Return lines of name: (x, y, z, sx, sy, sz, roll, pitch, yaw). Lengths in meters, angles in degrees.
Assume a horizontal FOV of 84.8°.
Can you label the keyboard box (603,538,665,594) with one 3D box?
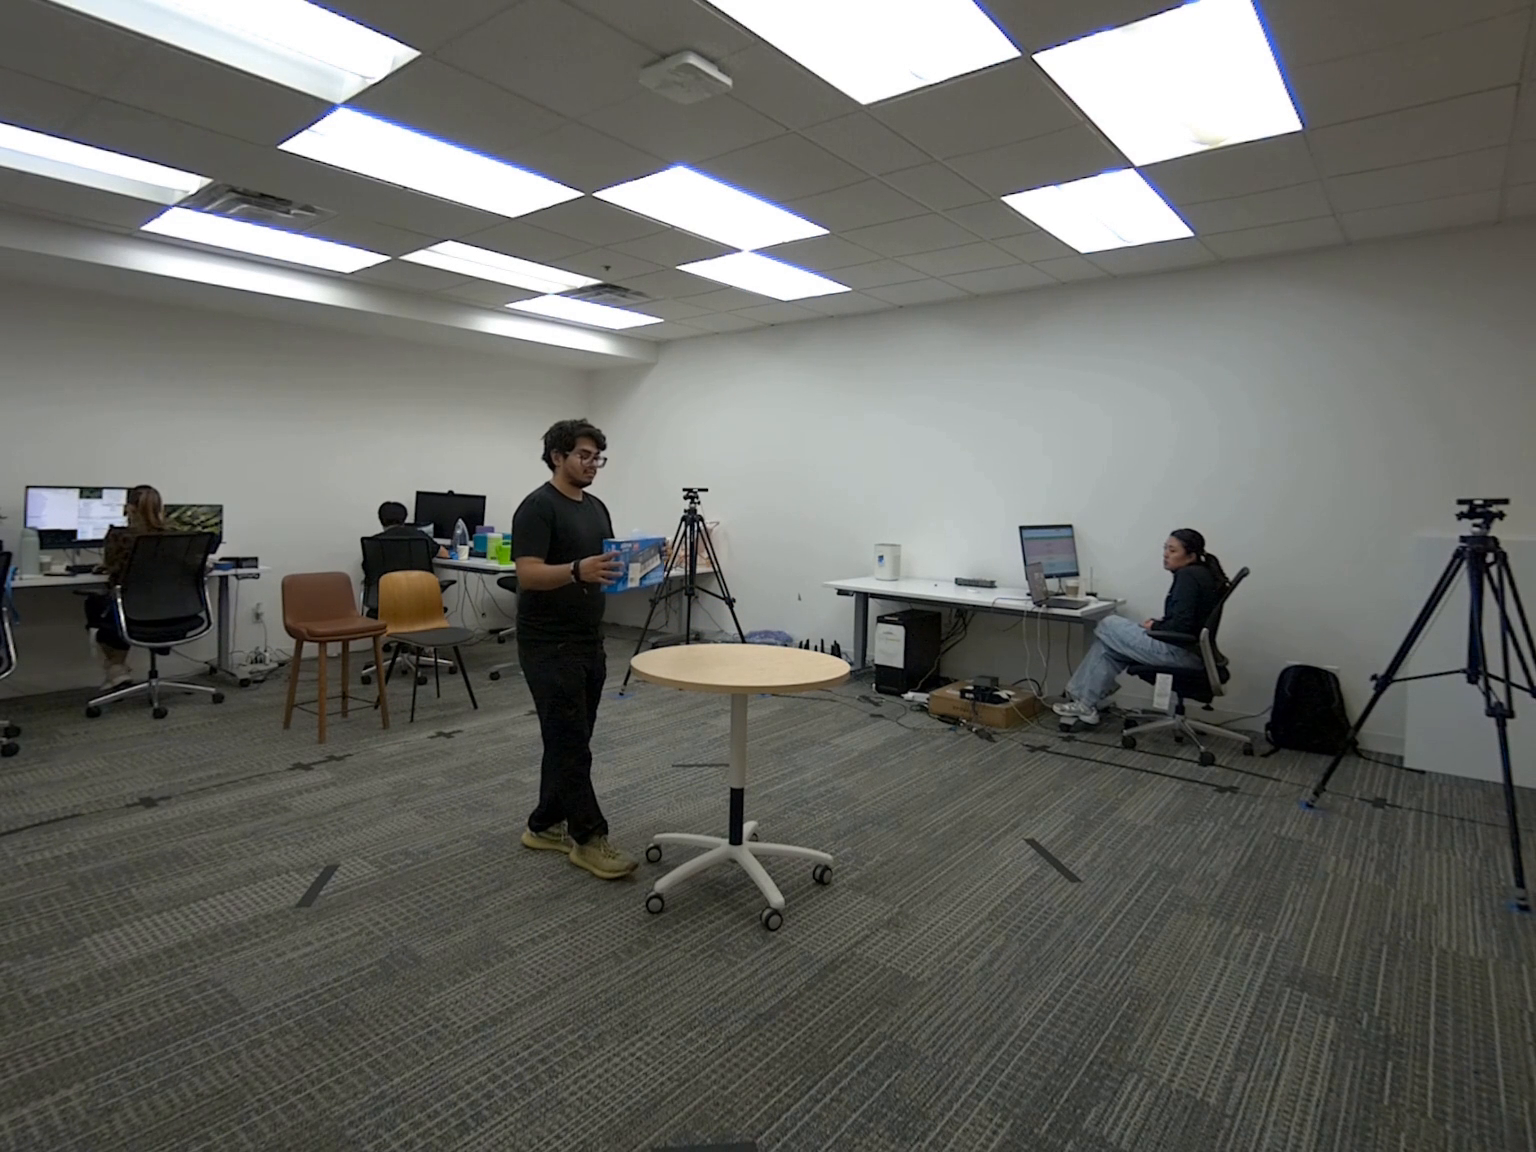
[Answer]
keyboard box: (-0.476, -0.045, 2.982, 0.060, 0.175, 0.430, 5, 4, 14)
